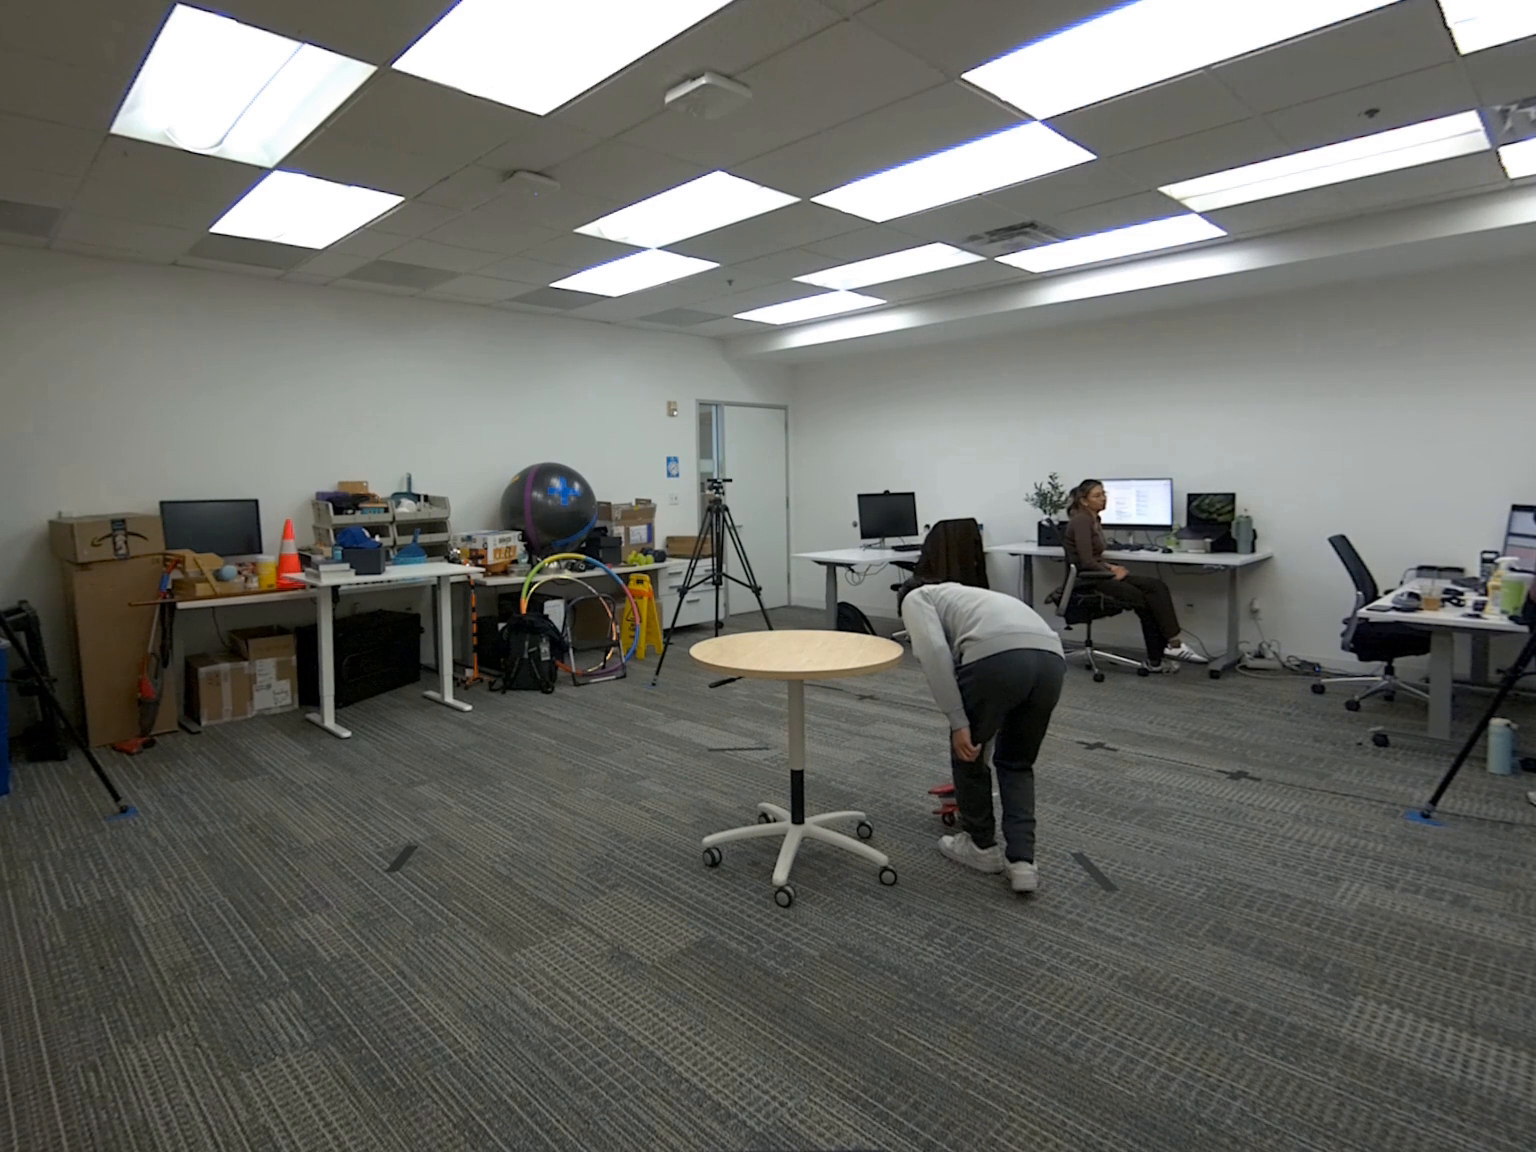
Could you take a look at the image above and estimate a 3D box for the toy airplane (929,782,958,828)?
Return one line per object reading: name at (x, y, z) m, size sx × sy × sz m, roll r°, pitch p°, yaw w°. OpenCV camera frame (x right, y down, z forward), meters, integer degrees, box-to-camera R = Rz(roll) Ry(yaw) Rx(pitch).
toy airplane at (0.800, 0.890, 3.411) m, size 0.261 × 0.160 × 0.243 m, roll -29°, pitch -23°, yaw 25°
